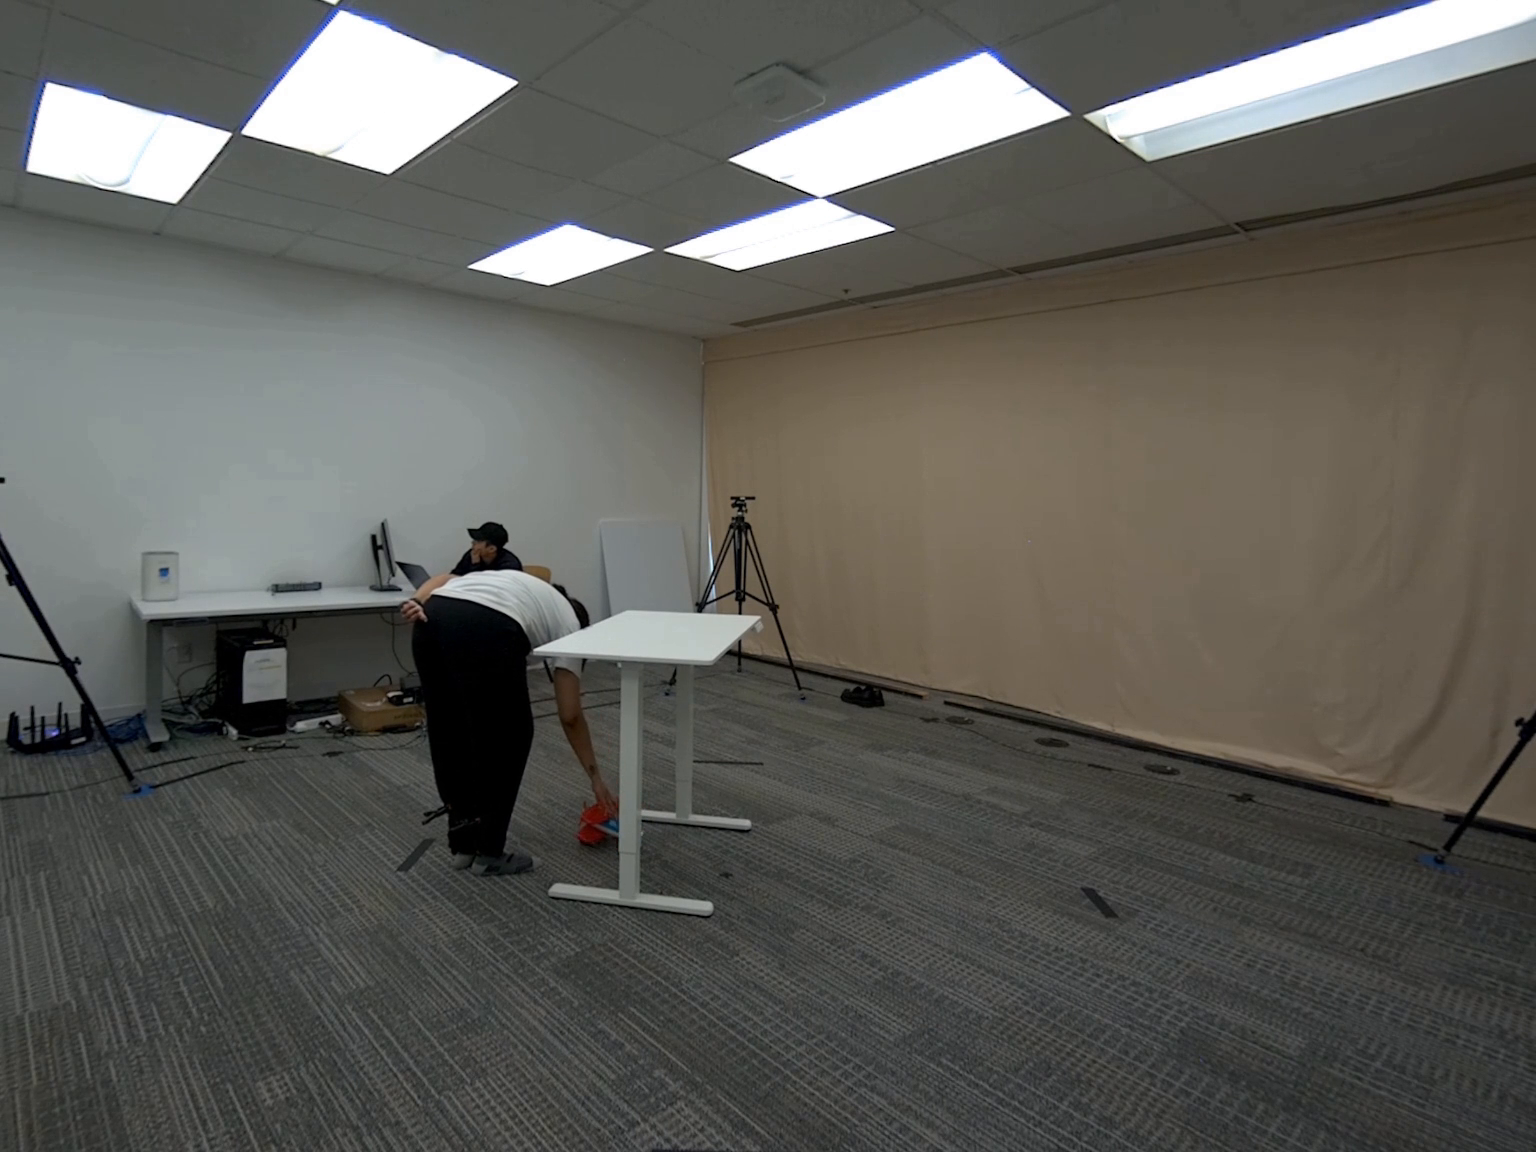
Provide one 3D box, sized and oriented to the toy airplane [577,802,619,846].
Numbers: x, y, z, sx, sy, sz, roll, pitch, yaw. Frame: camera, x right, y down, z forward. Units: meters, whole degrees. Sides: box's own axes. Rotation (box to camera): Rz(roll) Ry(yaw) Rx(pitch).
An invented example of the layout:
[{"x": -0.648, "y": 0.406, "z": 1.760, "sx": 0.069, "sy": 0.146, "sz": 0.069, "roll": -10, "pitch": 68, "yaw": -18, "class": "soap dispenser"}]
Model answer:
[{"x": -0.637, "y": 1.001, "z": 3.368, "sx": 0.258, "sy": 0.156, "sz": 0.253, "roll": 0, "pitch": 6, "yaw": -5, "class": "toy airplane"}]
